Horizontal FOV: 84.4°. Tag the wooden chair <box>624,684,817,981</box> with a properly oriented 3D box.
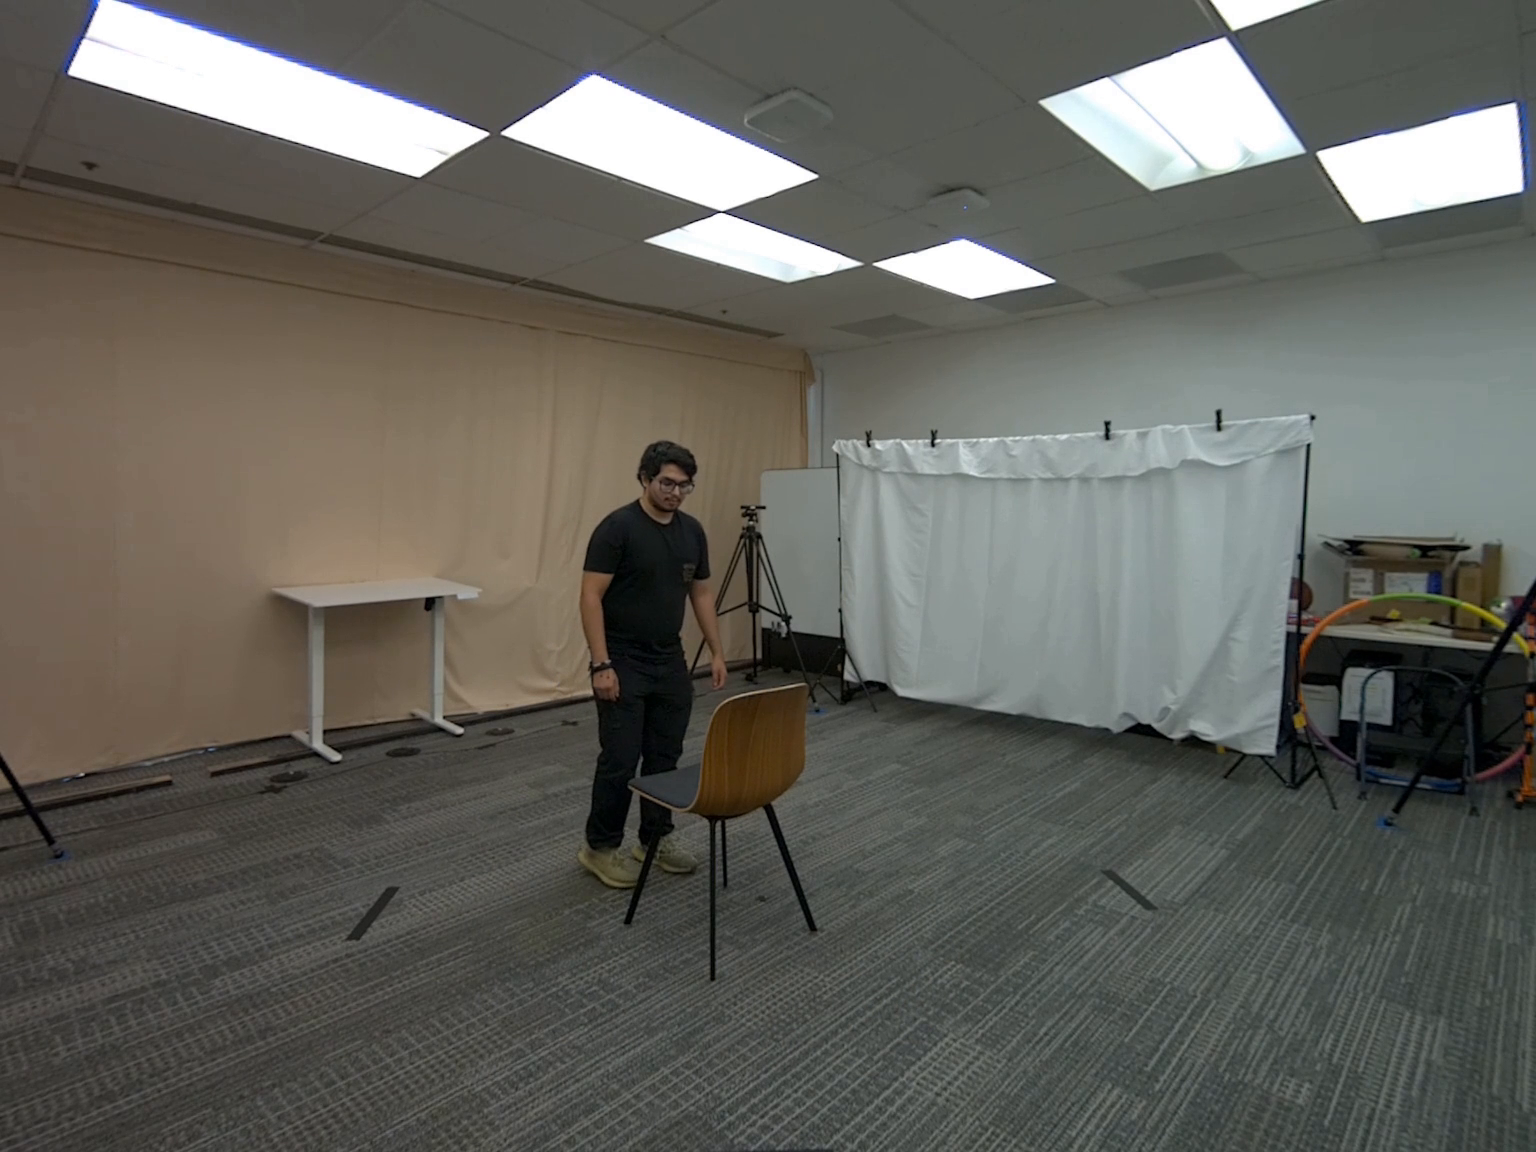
[{"bbox_3d":[-0.161,0.737,2.754,0.463,0.874,0.541,-3,9,-43],"label":"wooden chair"}]
